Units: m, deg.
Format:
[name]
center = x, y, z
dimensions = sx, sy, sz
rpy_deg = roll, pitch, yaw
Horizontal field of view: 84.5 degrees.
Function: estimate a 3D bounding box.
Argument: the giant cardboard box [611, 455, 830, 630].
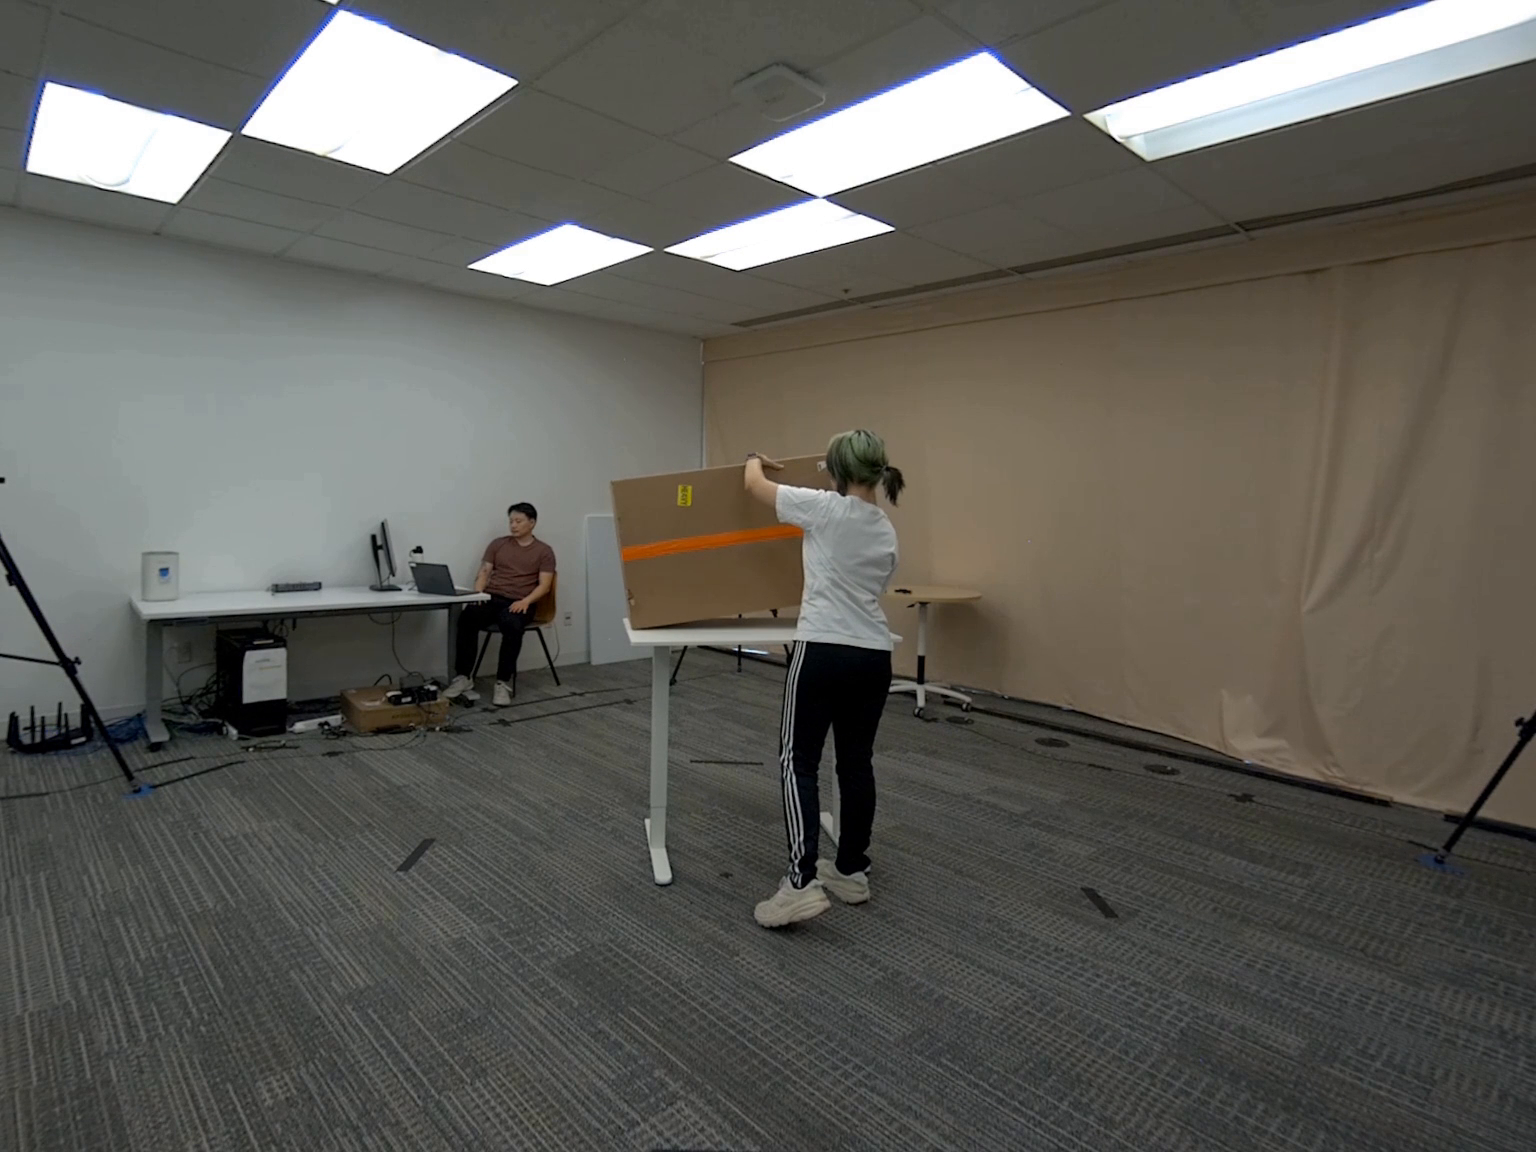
[giant cardboard box]
center = -0.098, -0.152, 3.446
dimensions = 1.023, 0.583, 0.449
rpy_deg = -7, 2, -6
